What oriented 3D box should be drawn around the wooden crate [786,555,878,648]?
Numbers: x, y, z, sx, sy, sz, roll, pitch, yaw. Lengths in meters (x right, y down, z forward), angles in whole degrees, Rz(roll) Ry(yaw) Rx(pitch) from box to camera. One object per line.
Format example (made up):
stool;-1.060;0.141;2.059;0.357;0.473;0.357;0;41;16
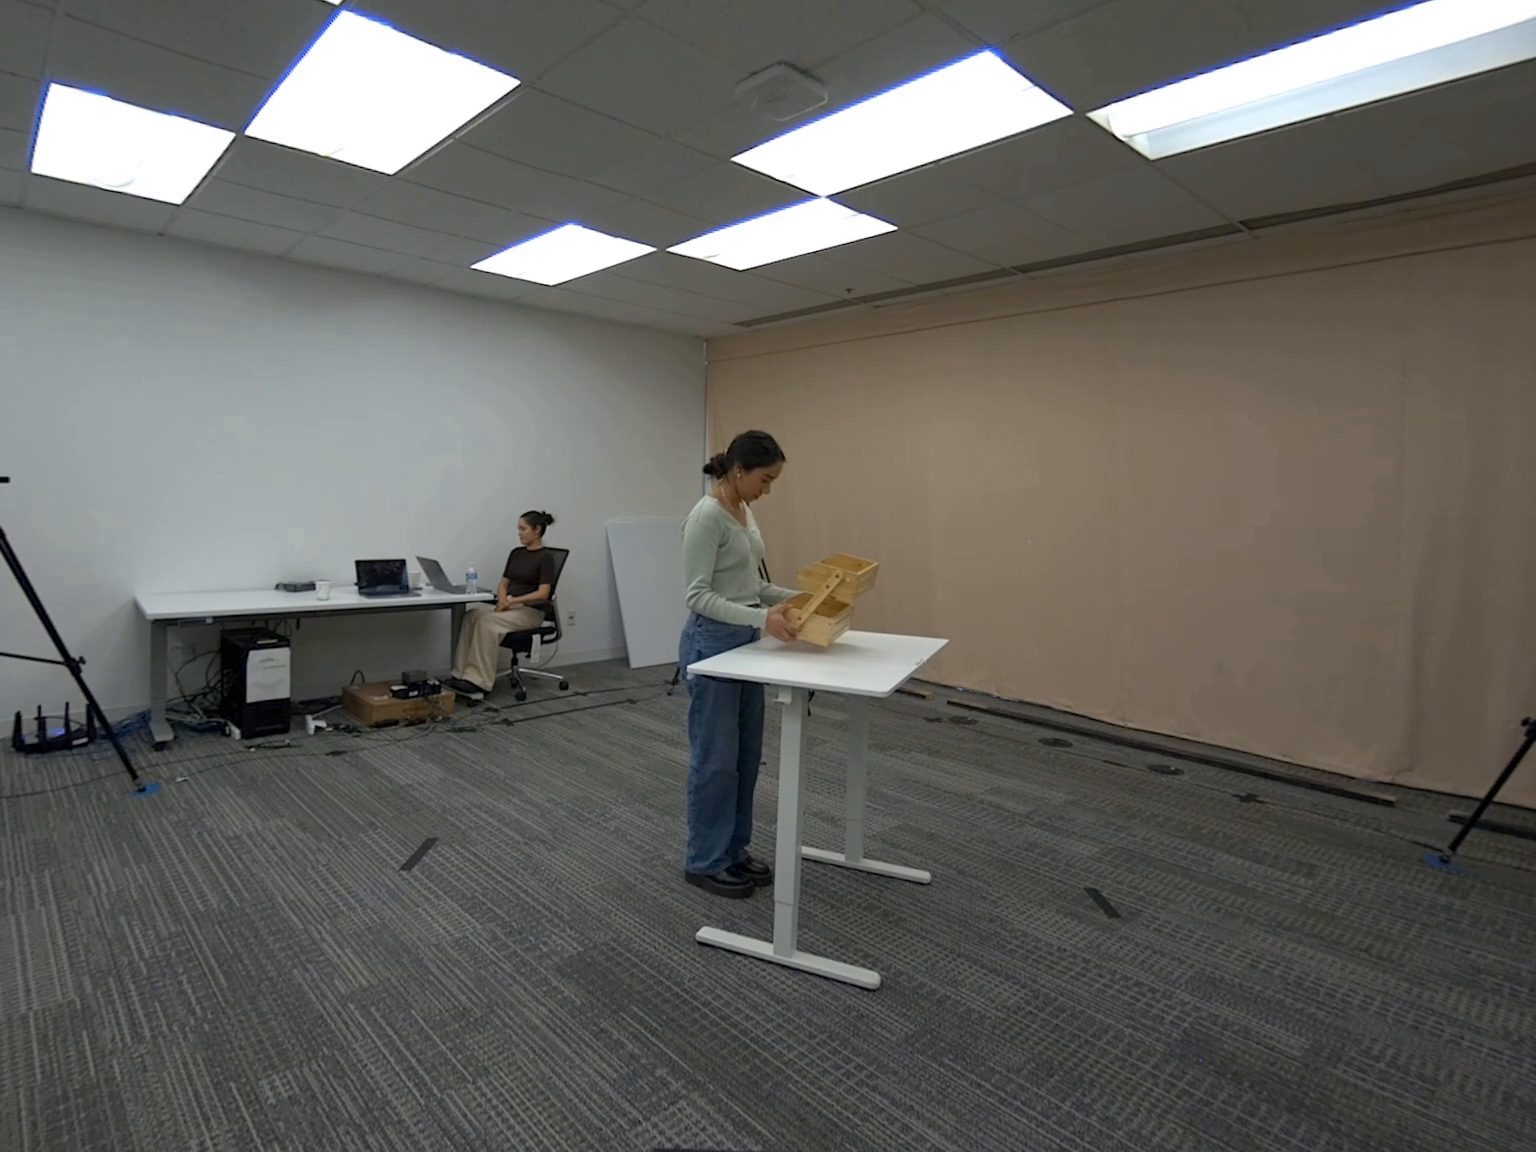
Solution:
wooden crate;0.166;0.062;2.873;0.307;0.271;0.321;14;11;18
